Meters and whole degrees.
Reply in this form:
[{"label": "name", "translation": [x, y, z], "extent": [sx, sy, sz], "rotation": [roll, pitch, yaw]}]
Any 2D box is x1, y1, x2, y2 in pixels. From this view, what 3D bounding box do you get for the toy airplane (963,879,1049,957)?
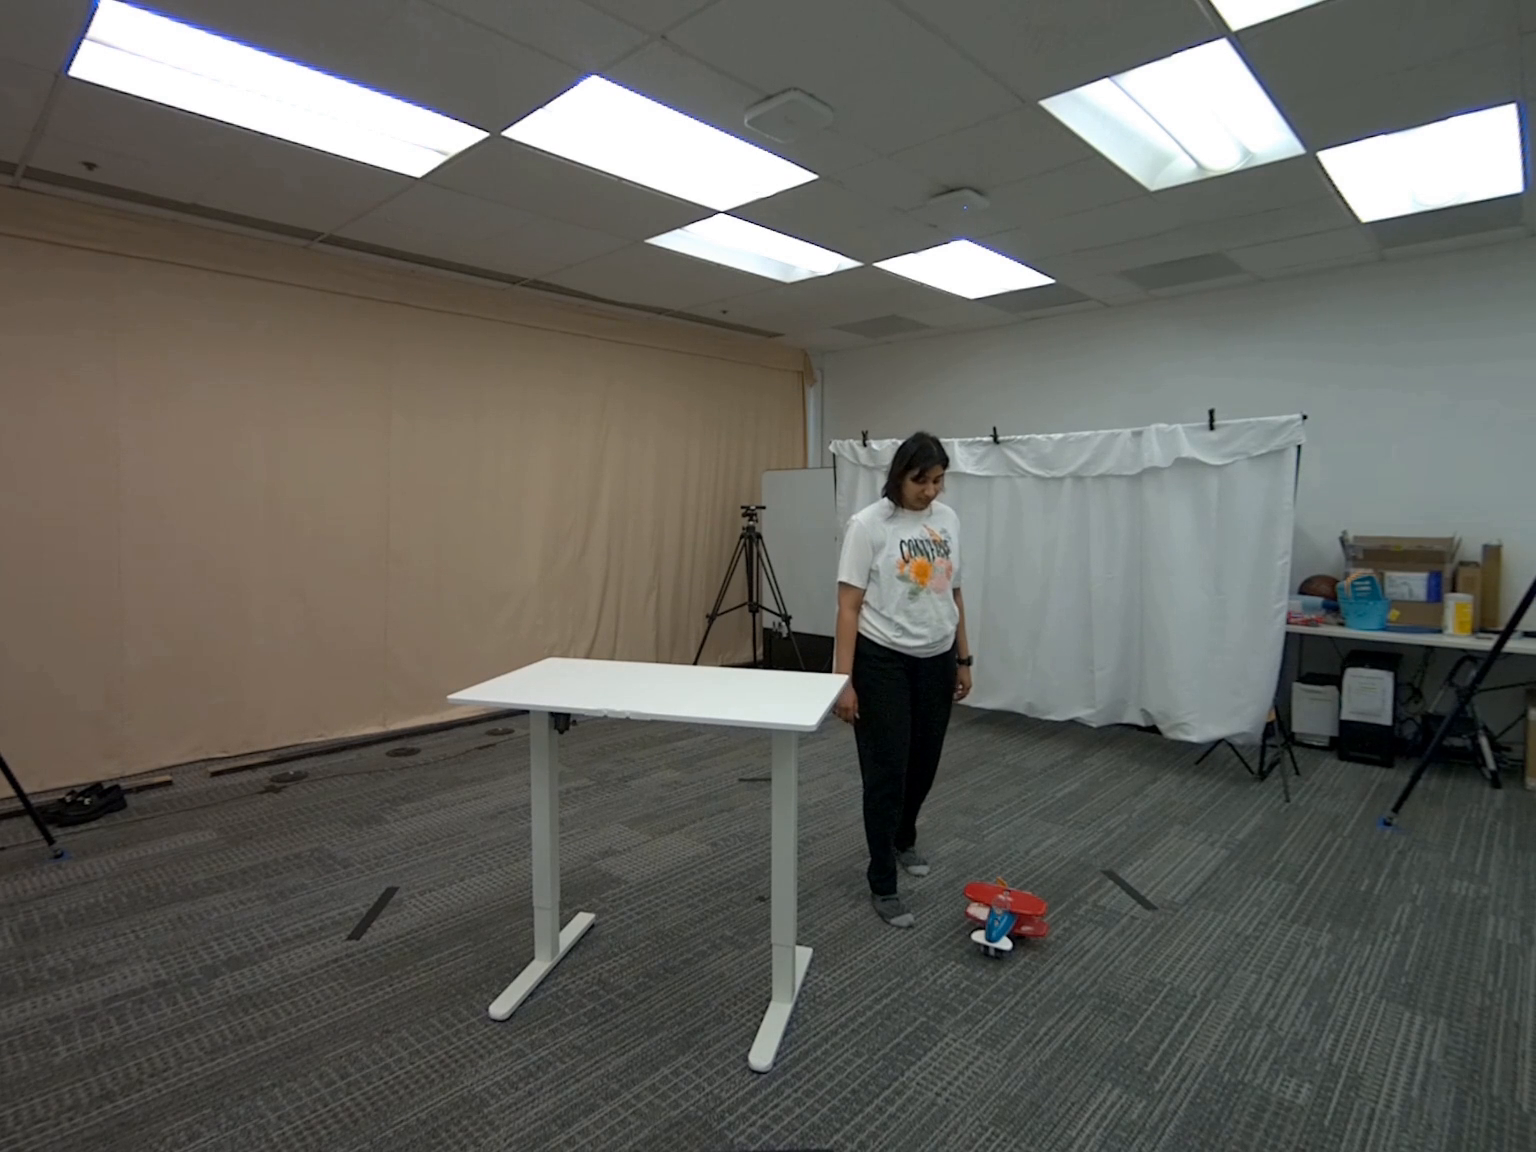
[{"label": "toy airplane", "translation": [0.769, 1.093, 2.654], "extent": [0.252, 0.156, 0.258], "rotation": [1, 4, 3]}]
